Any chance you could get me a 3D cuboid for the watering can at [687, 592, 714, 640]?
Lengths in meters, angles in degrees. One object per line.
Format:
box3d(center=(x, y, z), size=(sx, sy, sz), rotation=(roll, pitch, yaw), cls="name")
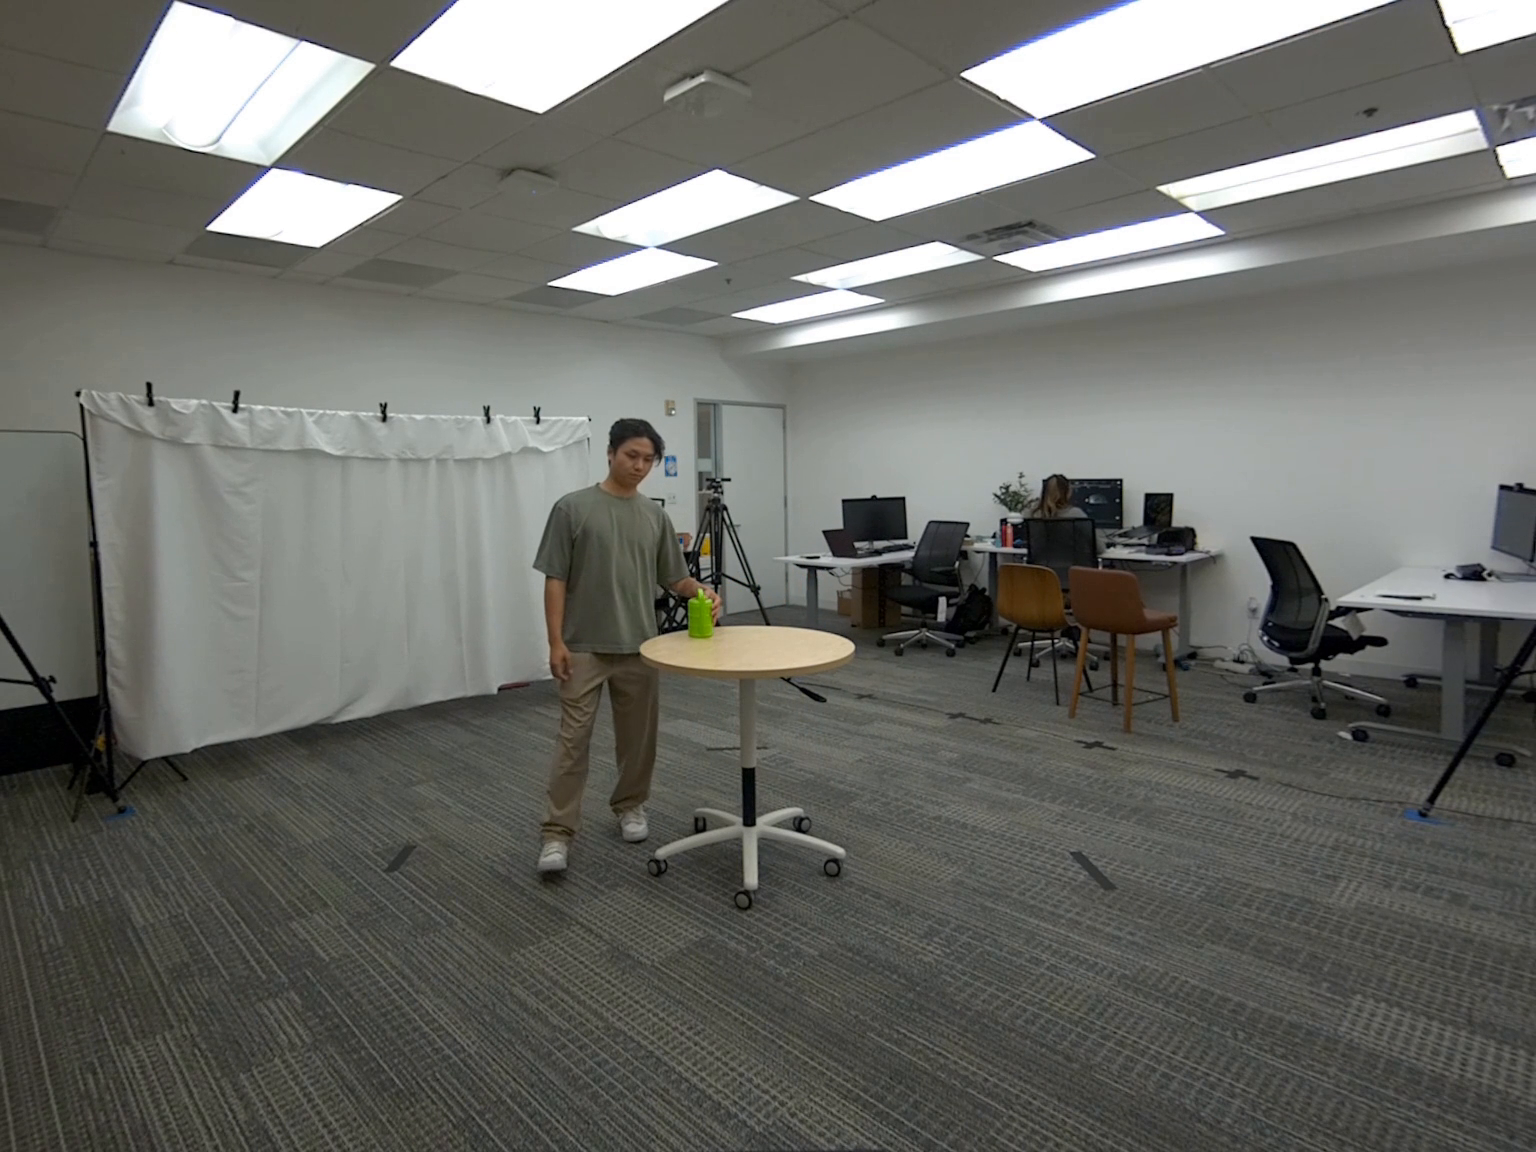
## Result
box3d(center=(-0.259, 0.144, 3.217), size=(0.098, 0.176, 0.278), rotation=(0, 3, 2), cls="watering can")
